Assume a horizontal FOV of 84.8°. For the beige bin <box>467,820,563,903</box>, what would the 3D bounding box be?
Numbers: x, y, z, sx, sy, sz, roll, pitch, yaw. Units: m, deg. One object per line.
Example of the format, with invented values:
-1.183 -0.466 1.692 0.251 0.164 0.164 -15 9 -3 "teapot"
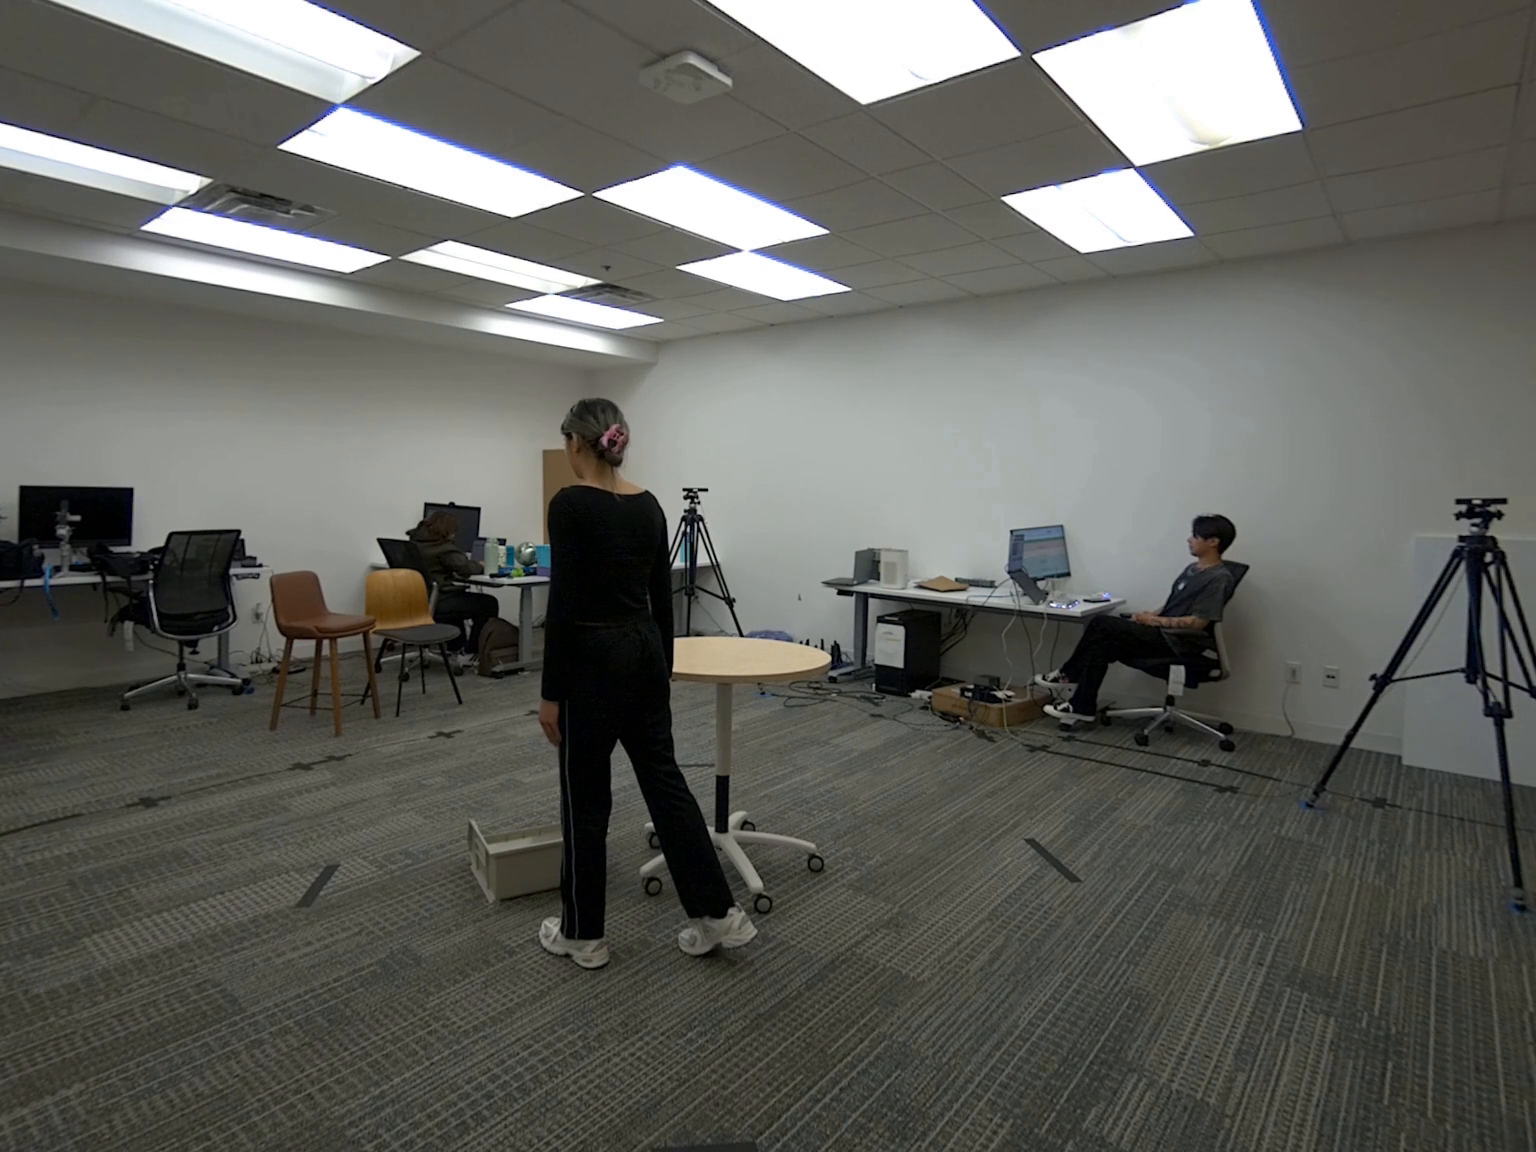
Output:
-0.845 0.974 3.062 0.411 0.188 0.389 -1 6 -30 "beige bin"
